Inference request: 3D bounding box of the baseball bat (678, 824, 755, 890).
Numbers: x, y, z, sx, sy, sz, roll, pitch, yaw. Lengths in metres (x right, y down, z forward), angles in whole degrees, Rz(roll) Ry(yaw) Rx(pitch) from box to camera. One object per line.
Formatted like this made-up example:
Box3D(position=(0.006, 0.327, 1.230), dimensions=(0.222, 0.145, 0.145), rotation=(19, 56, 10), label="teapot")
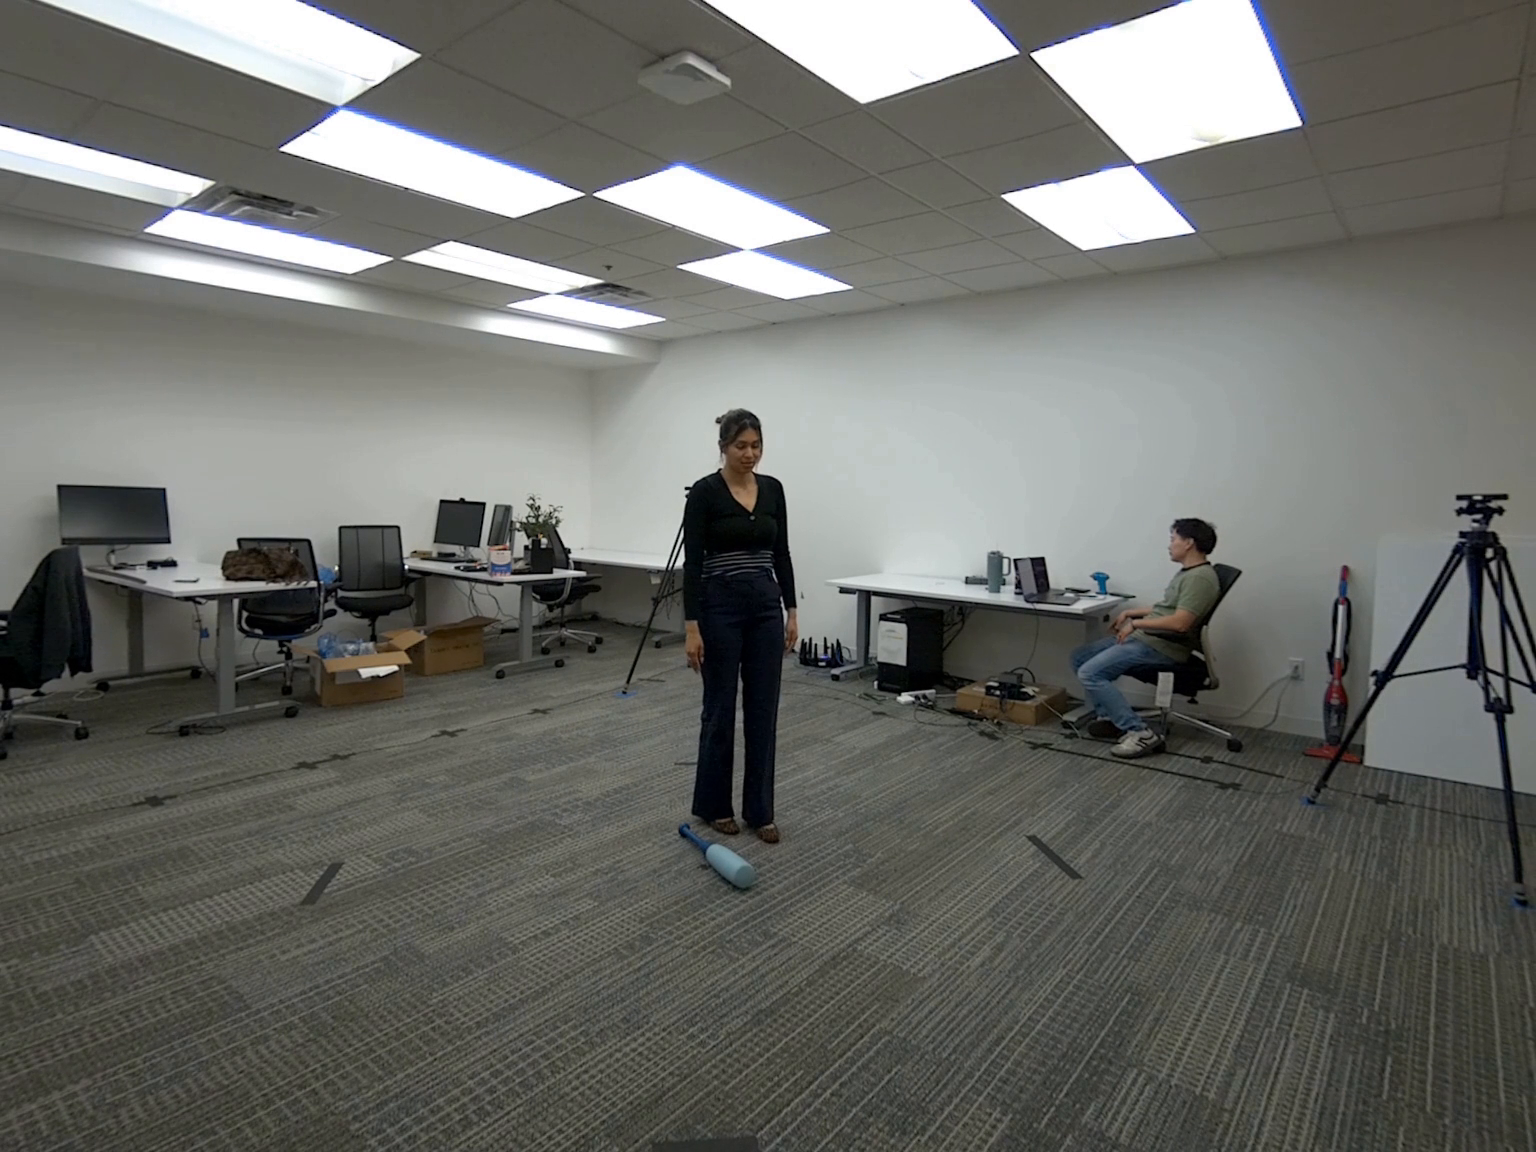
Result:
Box3D(position=(-0.218, 1.025, 3.162), dimensions=(0.087, 0.089, 0.557), rotation=(-1, 2, -28), label="baseball bat")
